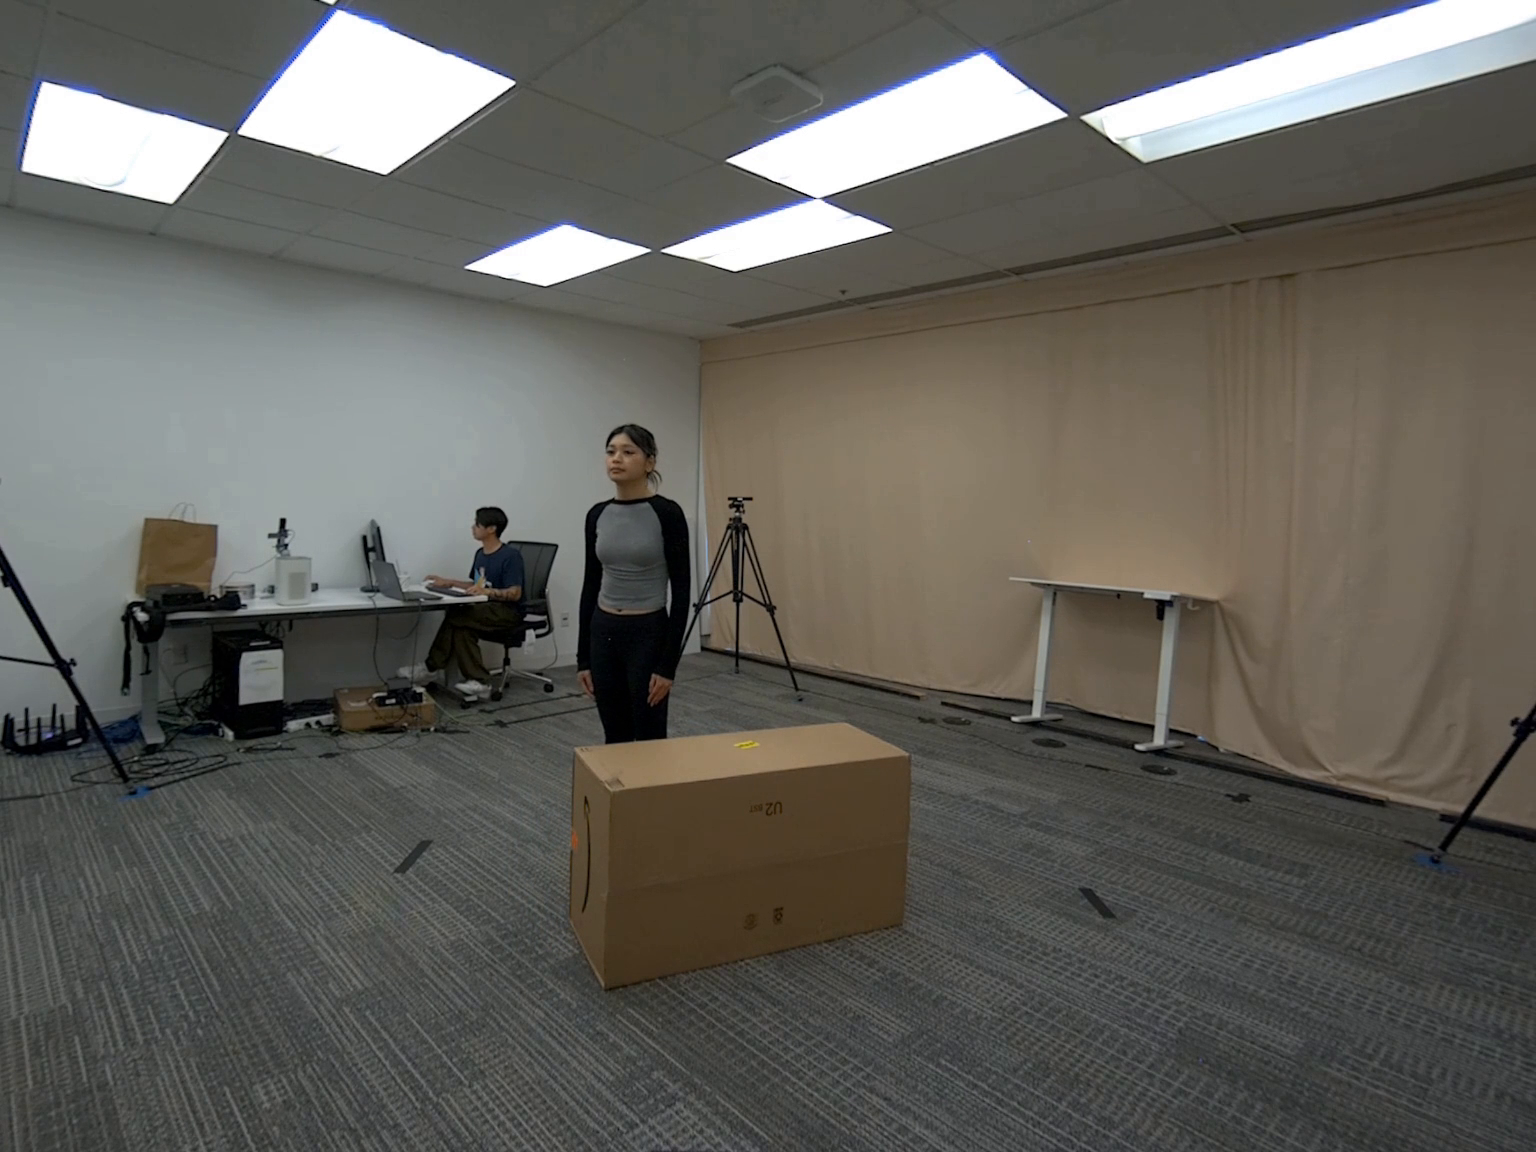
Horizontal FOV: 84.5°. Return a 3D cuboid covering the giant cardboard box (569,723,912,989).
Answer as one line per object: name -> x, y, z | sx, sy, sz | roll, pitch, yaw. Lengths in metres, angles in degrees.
giant cardboard box -> -0.088, 0.854, 2.742 | 1.008, 0.583, 0.456 | 0, 3, -25
